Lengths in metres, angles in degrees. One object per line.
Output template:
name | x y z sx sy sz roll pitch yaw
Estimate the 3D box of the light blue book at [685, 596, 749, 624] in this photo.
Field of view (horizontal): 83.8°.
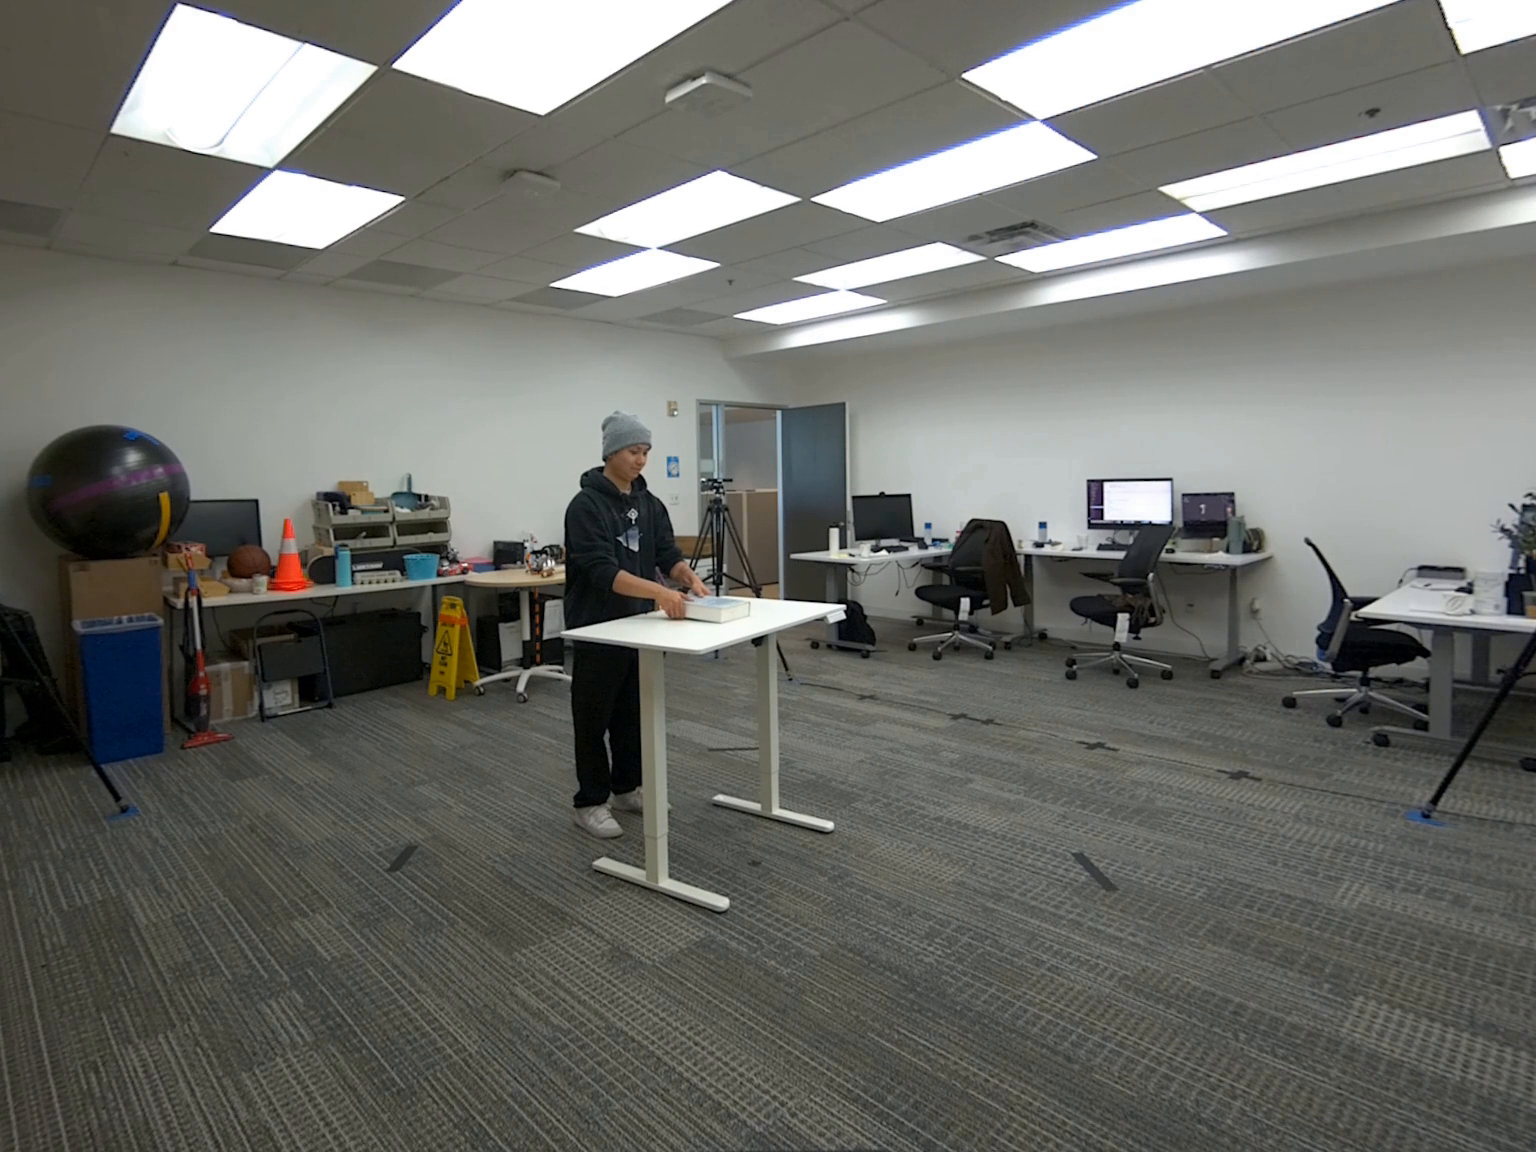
light blue book | -0.226 0.128 3.182 0.268 0.059 0.187 5 7 34
